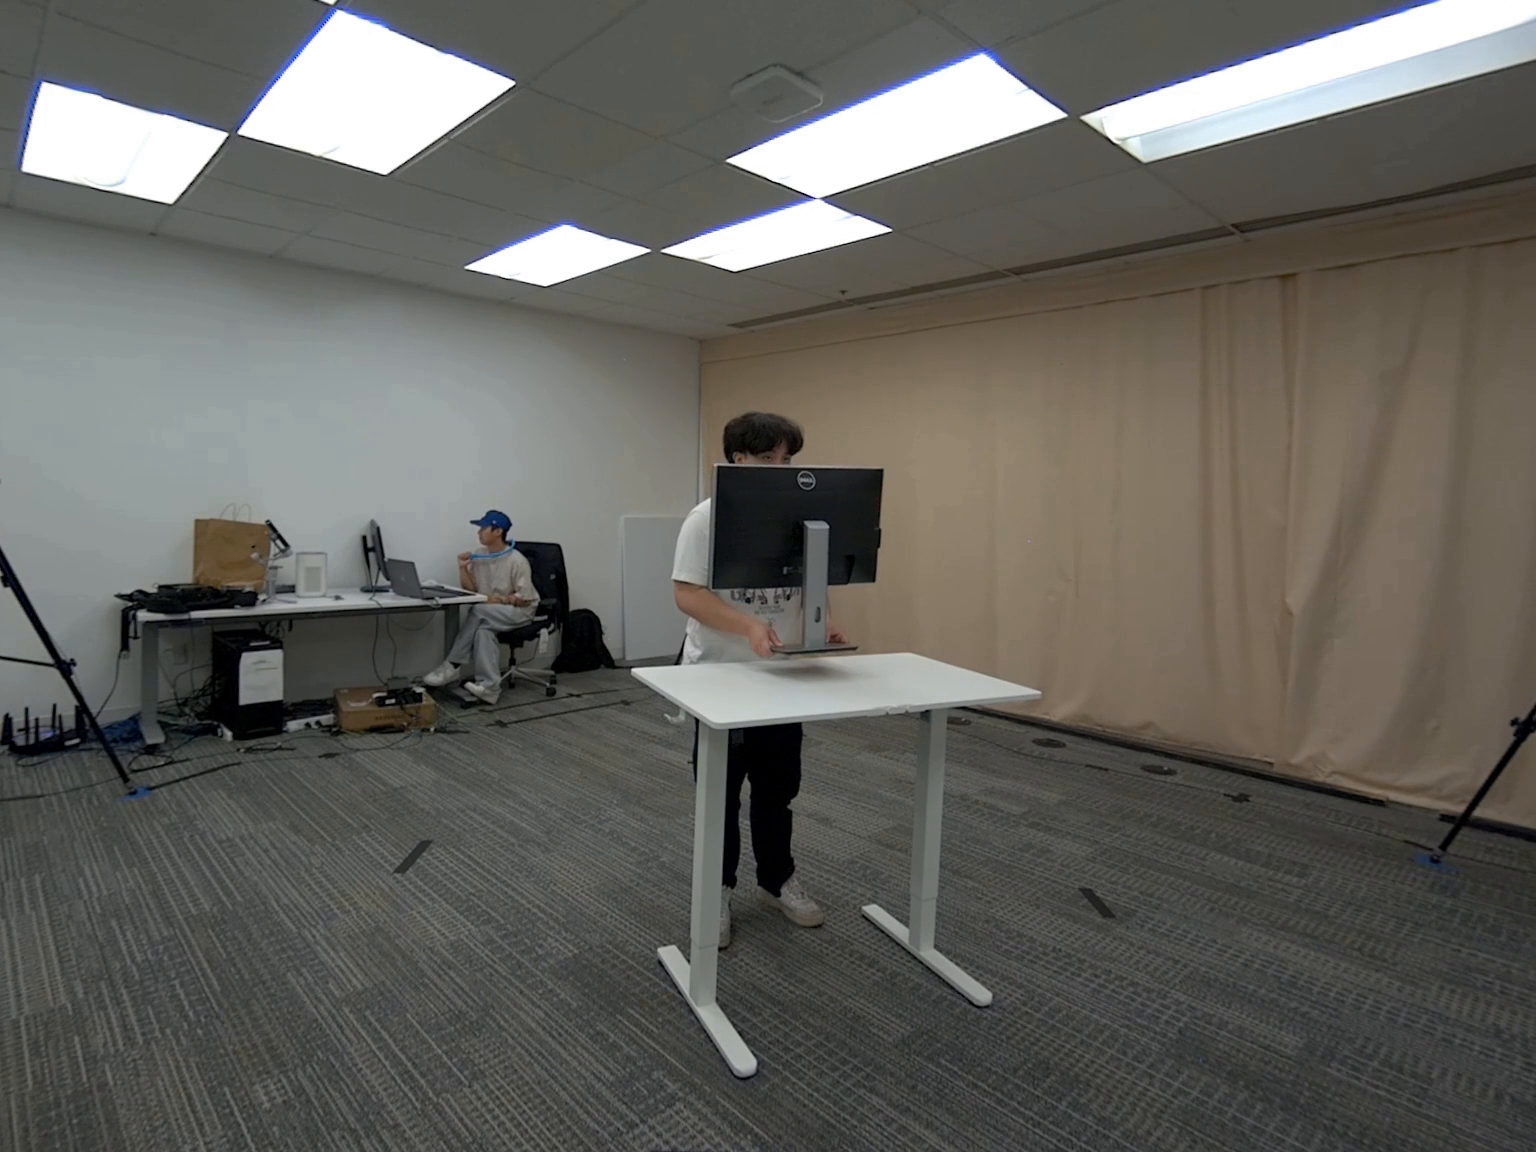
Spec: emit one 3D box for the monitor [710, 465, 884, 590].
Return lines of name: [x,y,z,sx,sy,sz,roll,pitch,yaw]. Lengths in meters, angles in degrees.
monitor: [0.111,-0.050,2.444,0.555,0.553,0.214,-1,3,-25]
